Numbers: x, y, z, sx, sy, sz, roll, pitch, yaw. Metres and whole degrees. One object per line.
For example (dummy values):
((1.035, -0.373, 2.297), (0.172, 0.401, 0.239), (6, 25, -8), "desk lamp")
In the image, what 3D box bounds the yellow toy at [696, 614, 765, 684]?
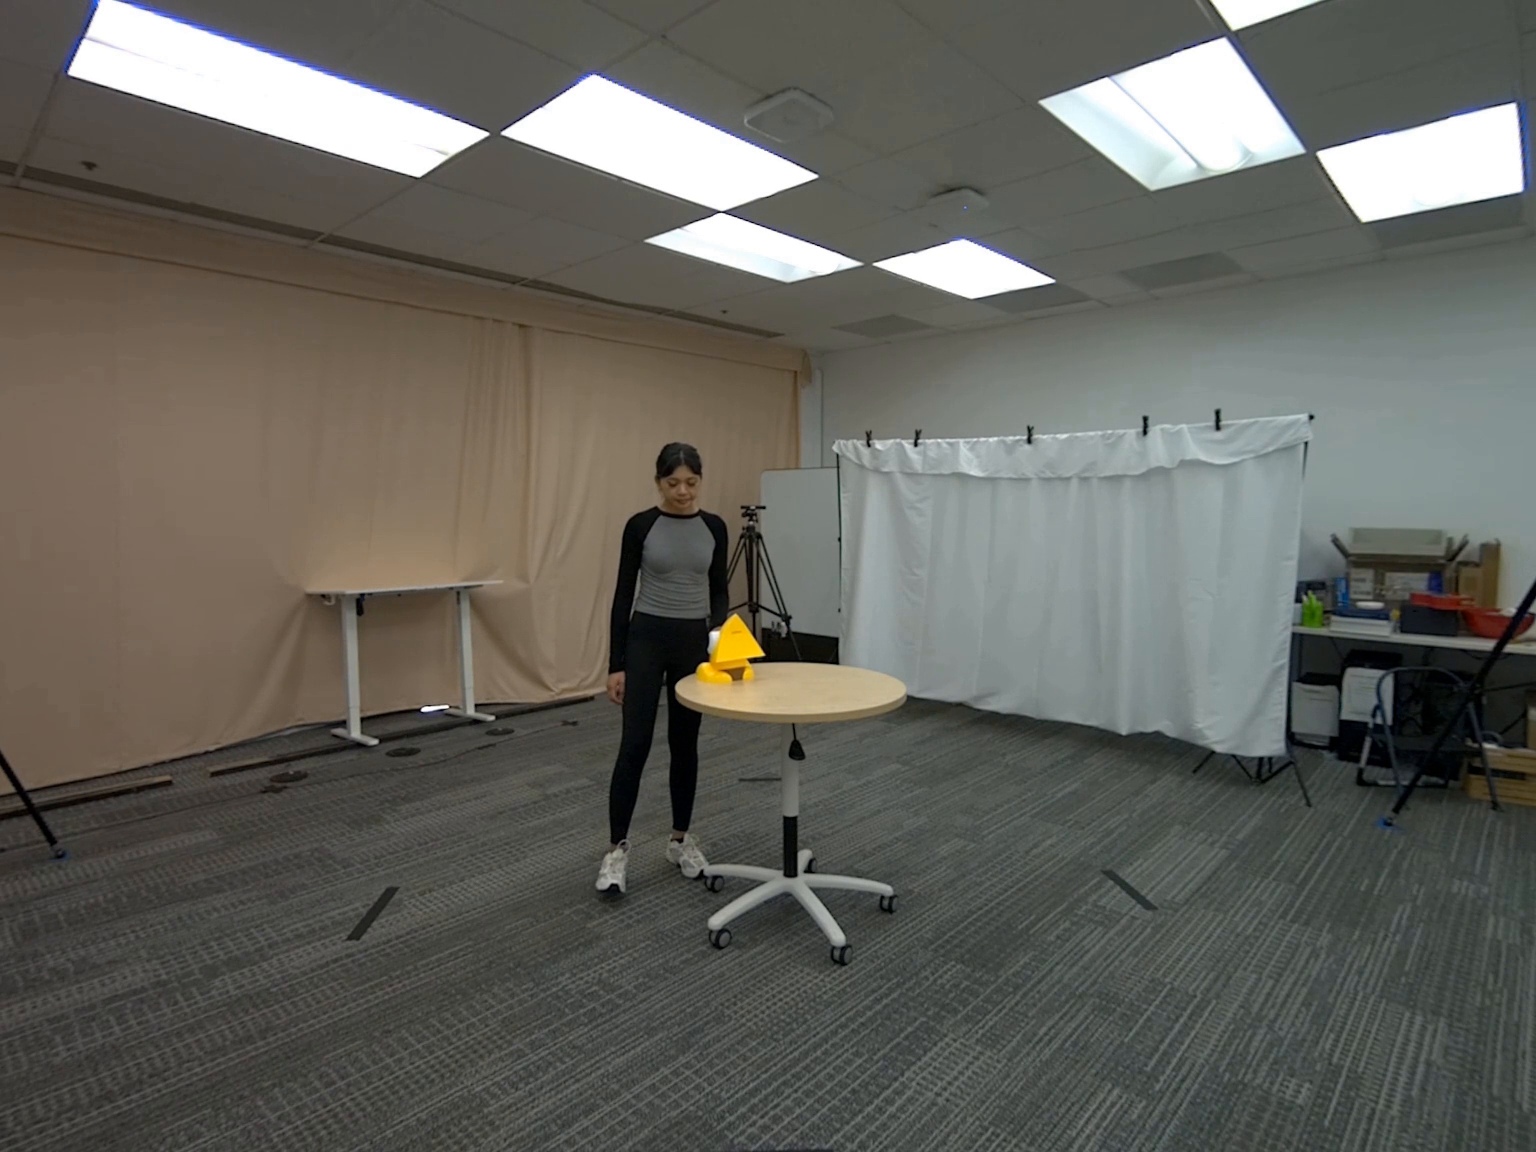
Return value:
((-0.141, 0.243, 2.947), (0.199, 0.230, 0.199), (-3, 5, -36), "yellow toy")
